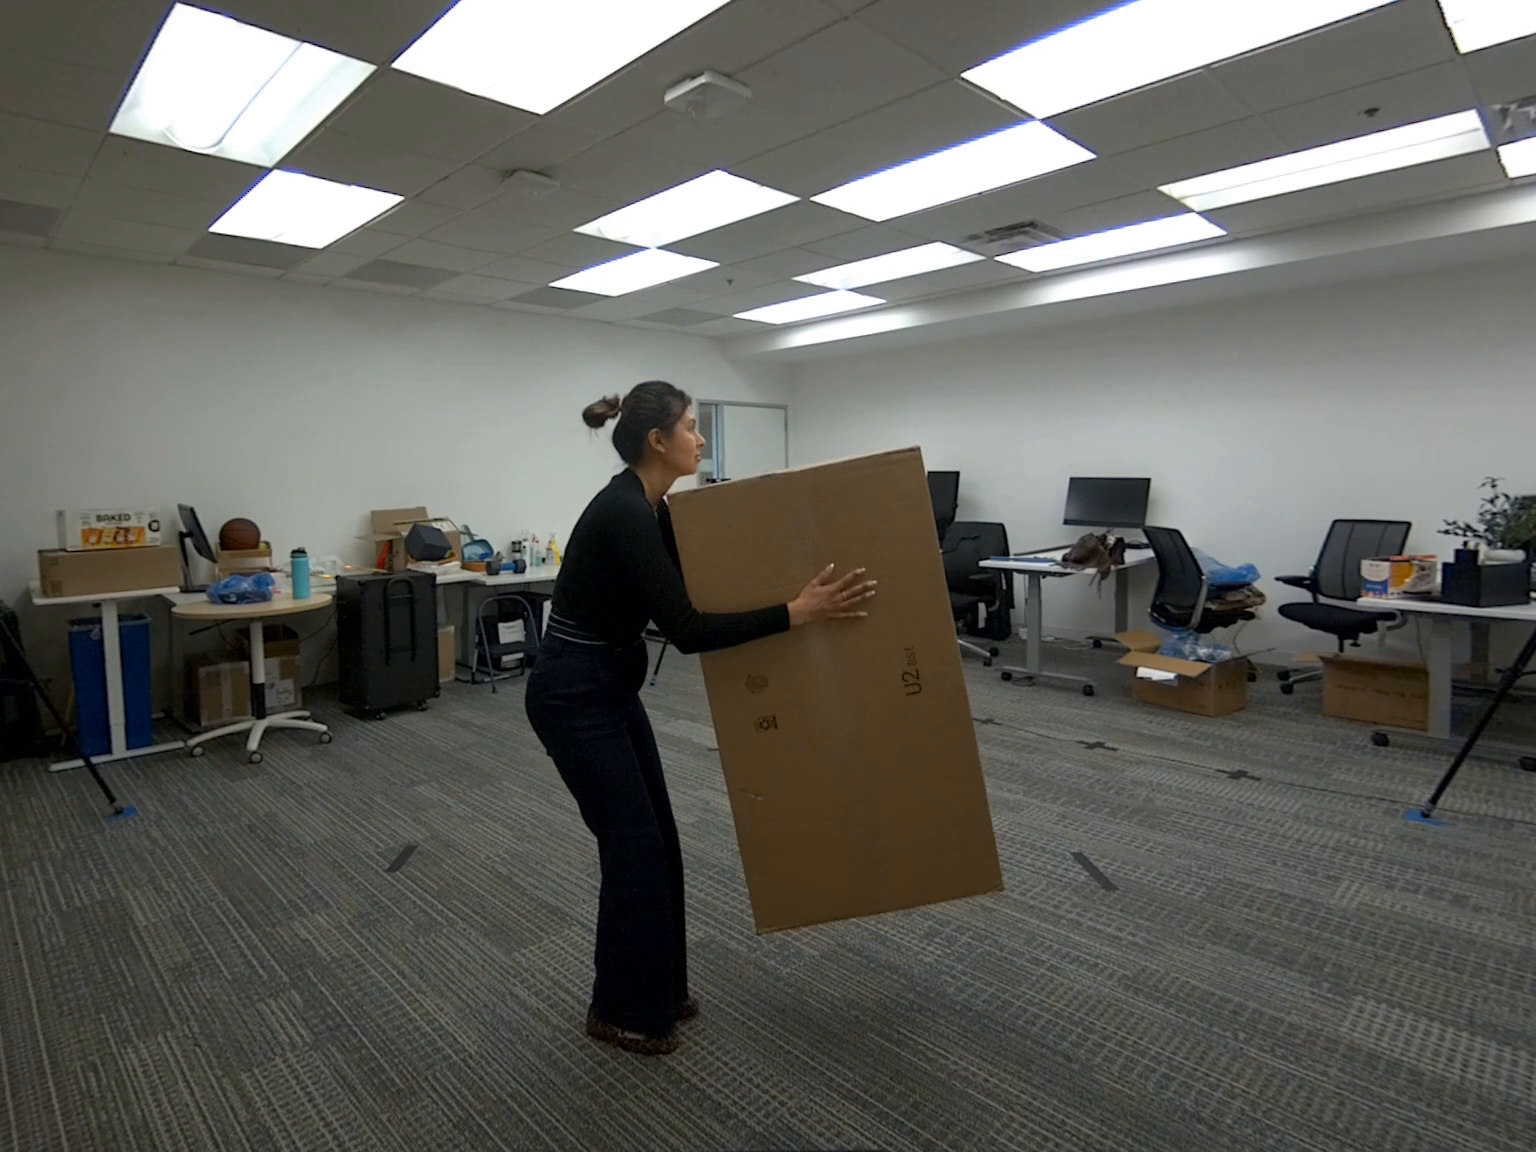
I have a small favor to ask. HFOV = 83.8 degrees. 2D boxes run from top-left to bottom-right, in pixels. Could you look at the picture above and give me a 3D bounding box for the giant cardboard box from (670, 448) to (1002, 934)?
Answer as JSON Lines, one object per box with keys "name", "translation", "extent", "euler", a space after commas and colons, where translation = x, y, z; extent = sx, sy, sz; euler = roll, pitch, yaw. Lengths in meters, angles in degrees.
{"name": "giant cardboard box", "translation": [0.156, 0.250, 2.113], "extent": [0.578, 1.022, 0.427], "euler": [-11, 4, 1]}
